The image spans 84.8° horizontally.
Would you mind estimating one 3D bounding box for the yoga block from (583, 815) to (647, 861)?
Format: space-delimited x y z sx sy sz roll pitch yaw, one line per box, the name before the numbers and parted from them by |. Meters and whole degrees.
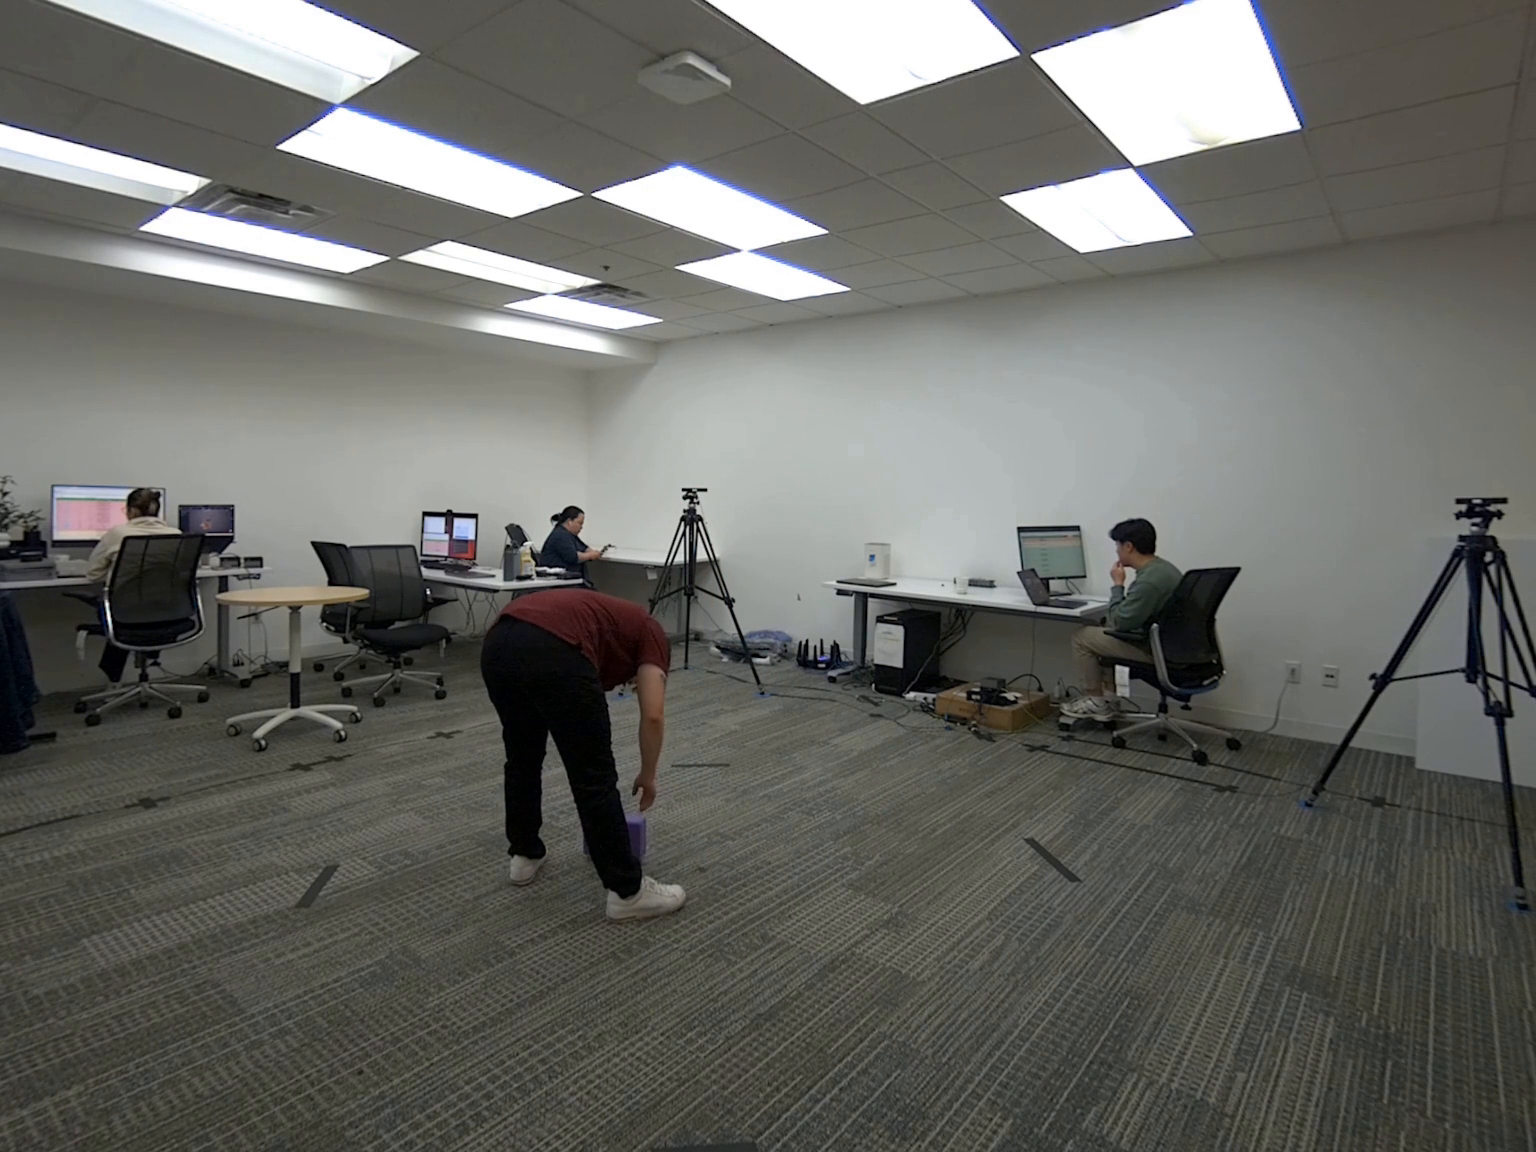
yoga block | -0.592 0.966 3.177 0.233 0.148 0.075 0 3 15
